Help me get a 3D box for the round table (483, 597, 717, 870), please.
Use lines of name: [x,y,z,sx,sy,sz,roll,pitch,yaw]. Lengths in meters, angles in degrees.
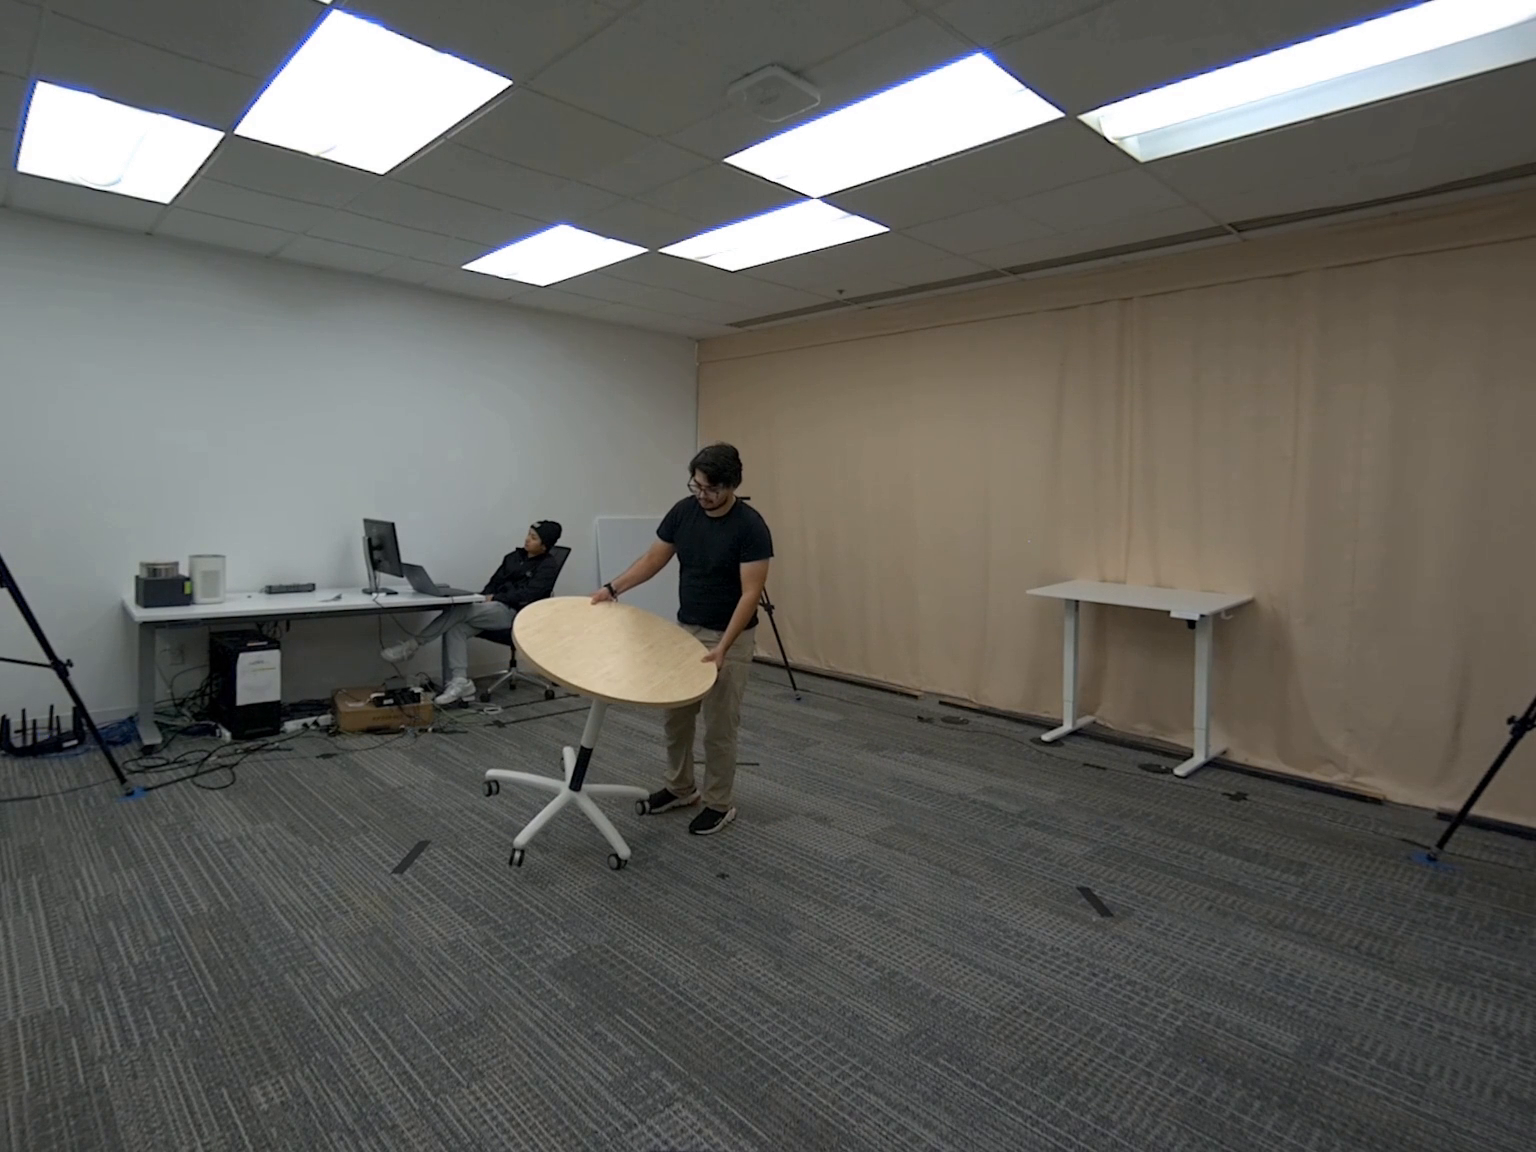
round table: [-0.701,0.599,3.221,0.780,0.780,0.796,16,17,-7]
